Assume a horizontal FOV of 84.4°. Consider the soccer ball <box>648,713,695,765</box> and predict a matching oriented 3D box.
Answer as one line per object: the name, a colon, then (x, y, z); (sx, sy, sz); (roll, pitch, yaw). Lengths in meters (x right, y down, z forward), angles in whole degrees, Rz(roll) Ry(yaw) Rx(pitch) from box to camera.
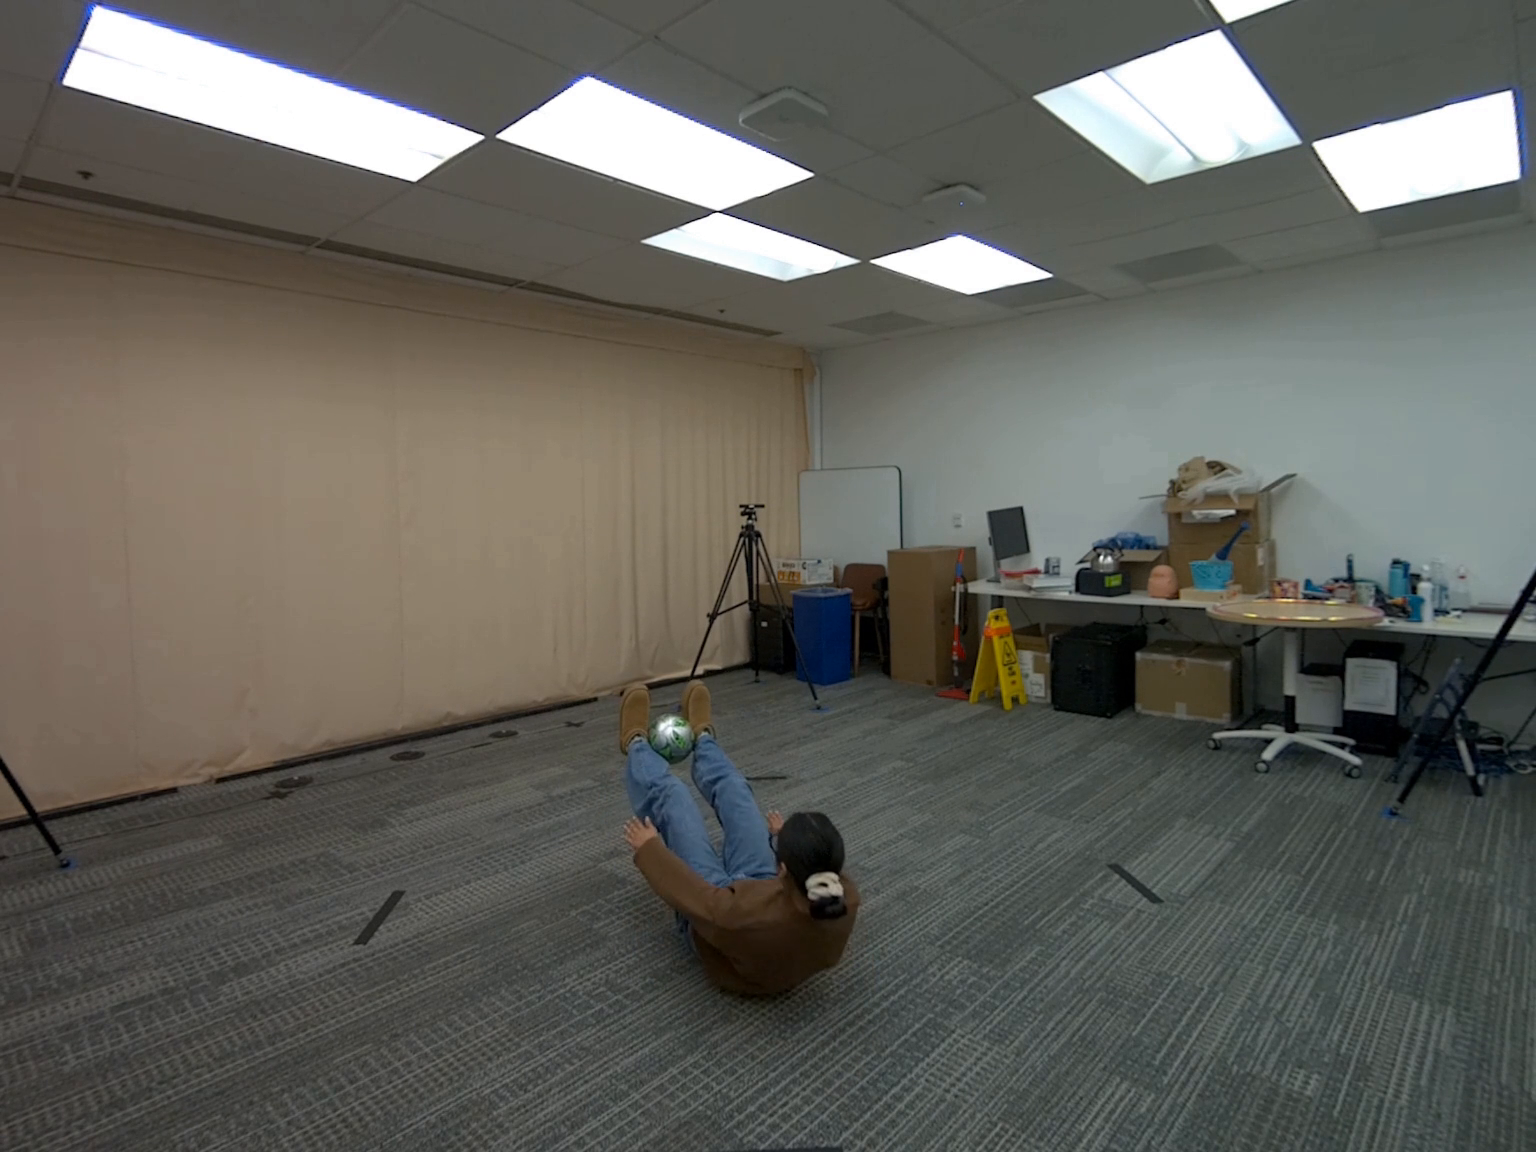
soccer ball: (-0.373, 0.624, 3.188); (0.187, 0.187, 0.188); (-1, 4, -2)
